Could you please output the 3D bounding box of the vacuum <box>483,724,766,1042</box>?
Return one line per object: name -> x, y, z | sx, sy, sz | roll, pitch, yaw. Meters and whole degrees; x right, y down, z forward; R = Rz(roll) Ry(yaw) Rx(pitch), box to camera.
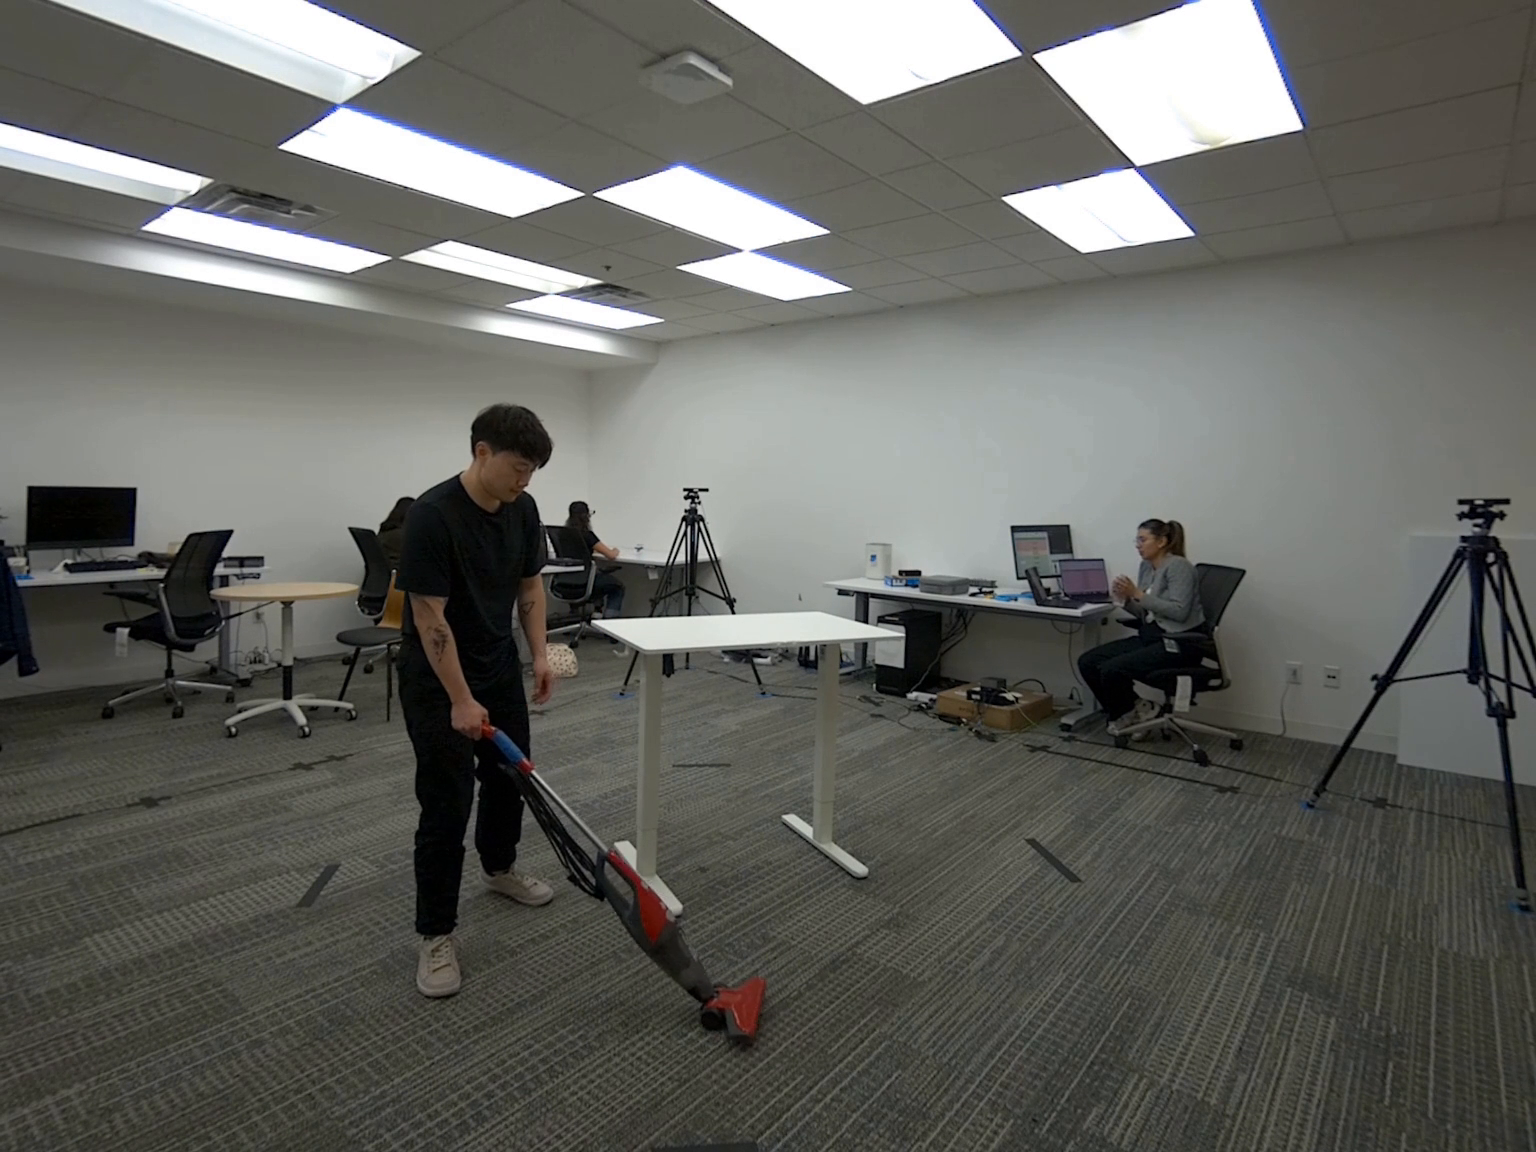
vacuum -> -0.466, 0.770, 2.297 | 1.061, 0.144, 0.250 | 44, 9, 8
